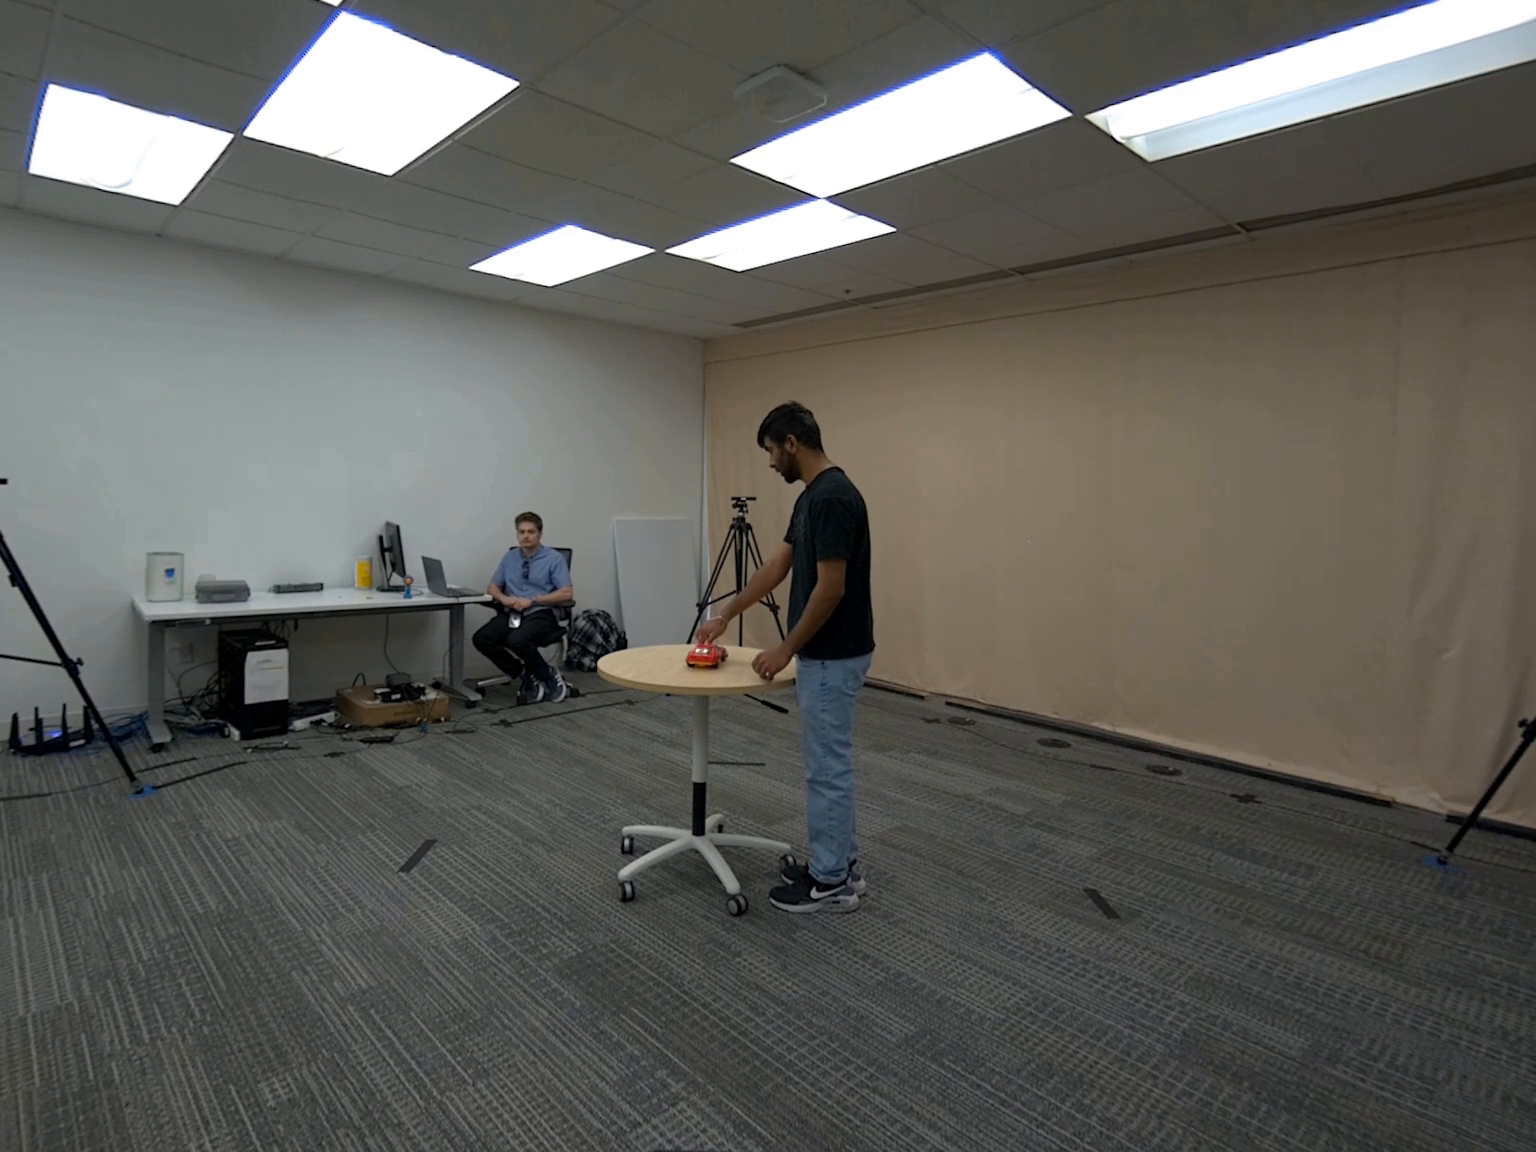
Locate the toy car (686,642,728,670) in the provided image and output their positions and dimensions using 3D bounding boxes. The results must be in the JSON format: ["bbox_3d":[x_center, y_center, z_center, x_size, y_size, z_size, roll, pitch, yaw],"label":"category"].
[{"bbox_3d":[-0.228,0.294,3.069,0.131,0.083,0.252,3,-5,7],"label":"toy car"}]
